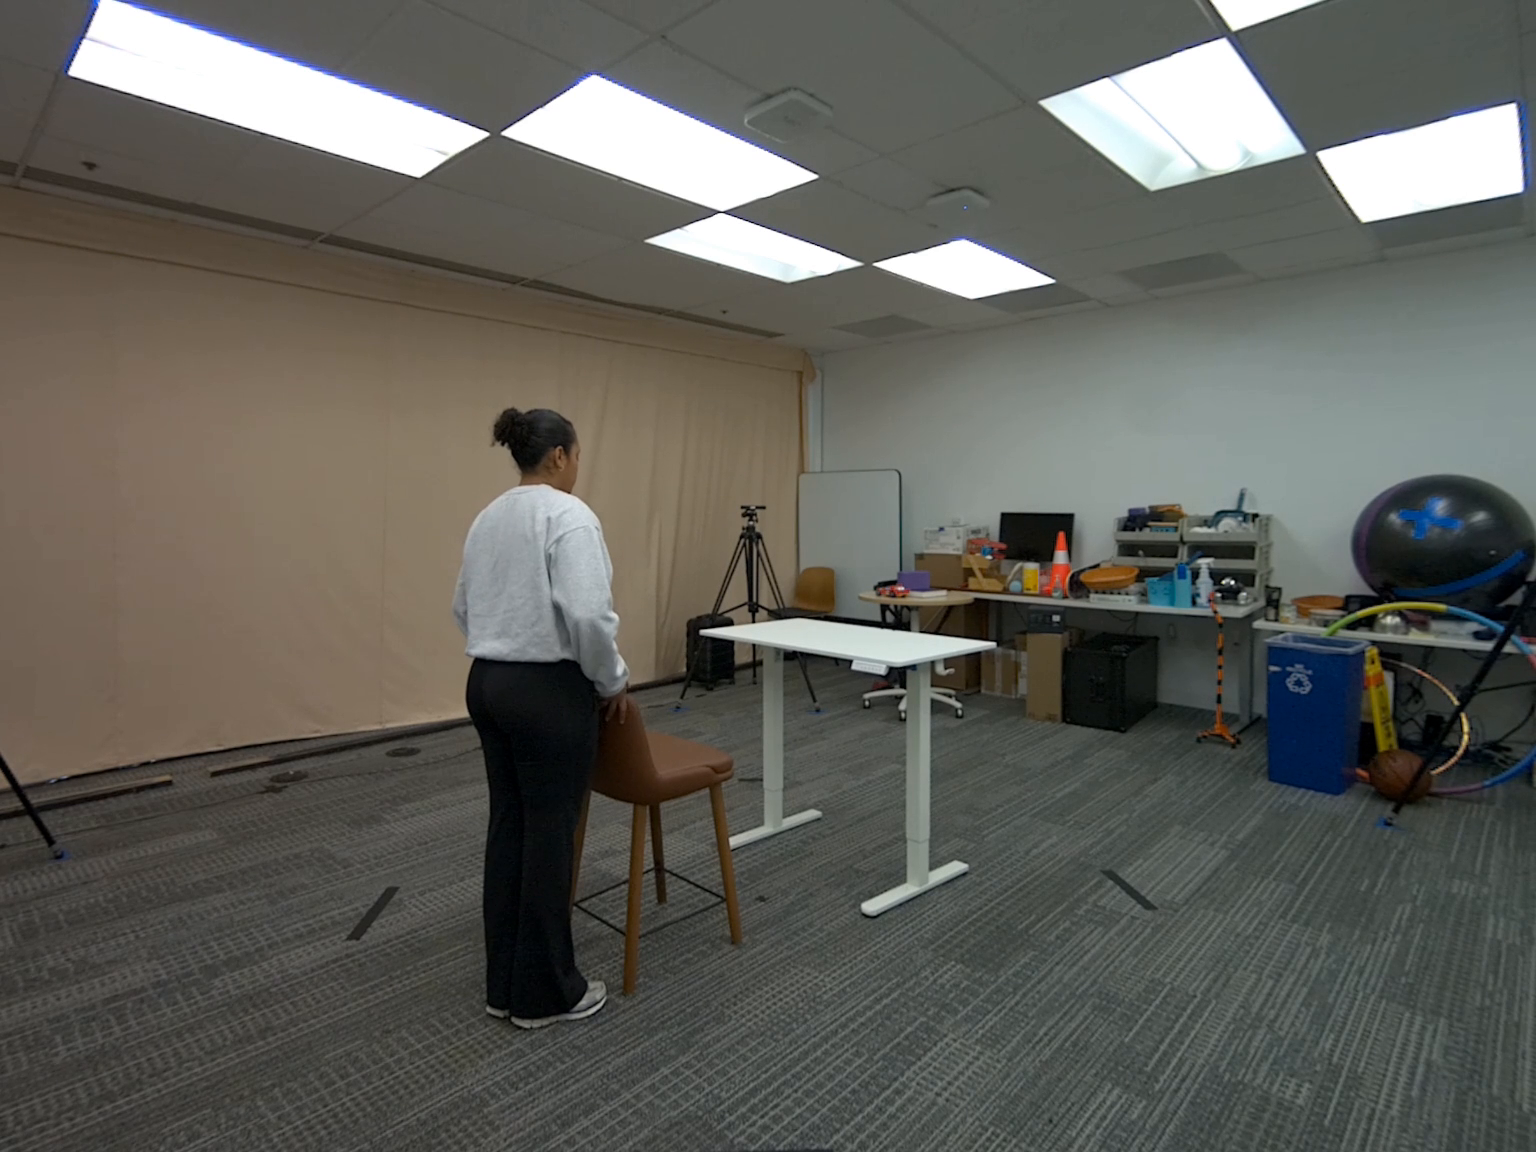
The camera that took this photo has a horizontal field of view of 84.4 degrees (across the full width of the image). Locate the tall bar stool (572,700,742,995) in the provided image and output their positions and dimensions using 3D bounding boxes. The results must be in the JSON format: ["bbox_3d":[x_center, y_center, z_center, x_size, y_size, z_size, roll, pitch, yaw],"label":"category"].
[{"bbox_3d":[-0.387,0.734,2.648,0.472,0.887,0.454,3,6,45],"label":"tall bar stool"}]
